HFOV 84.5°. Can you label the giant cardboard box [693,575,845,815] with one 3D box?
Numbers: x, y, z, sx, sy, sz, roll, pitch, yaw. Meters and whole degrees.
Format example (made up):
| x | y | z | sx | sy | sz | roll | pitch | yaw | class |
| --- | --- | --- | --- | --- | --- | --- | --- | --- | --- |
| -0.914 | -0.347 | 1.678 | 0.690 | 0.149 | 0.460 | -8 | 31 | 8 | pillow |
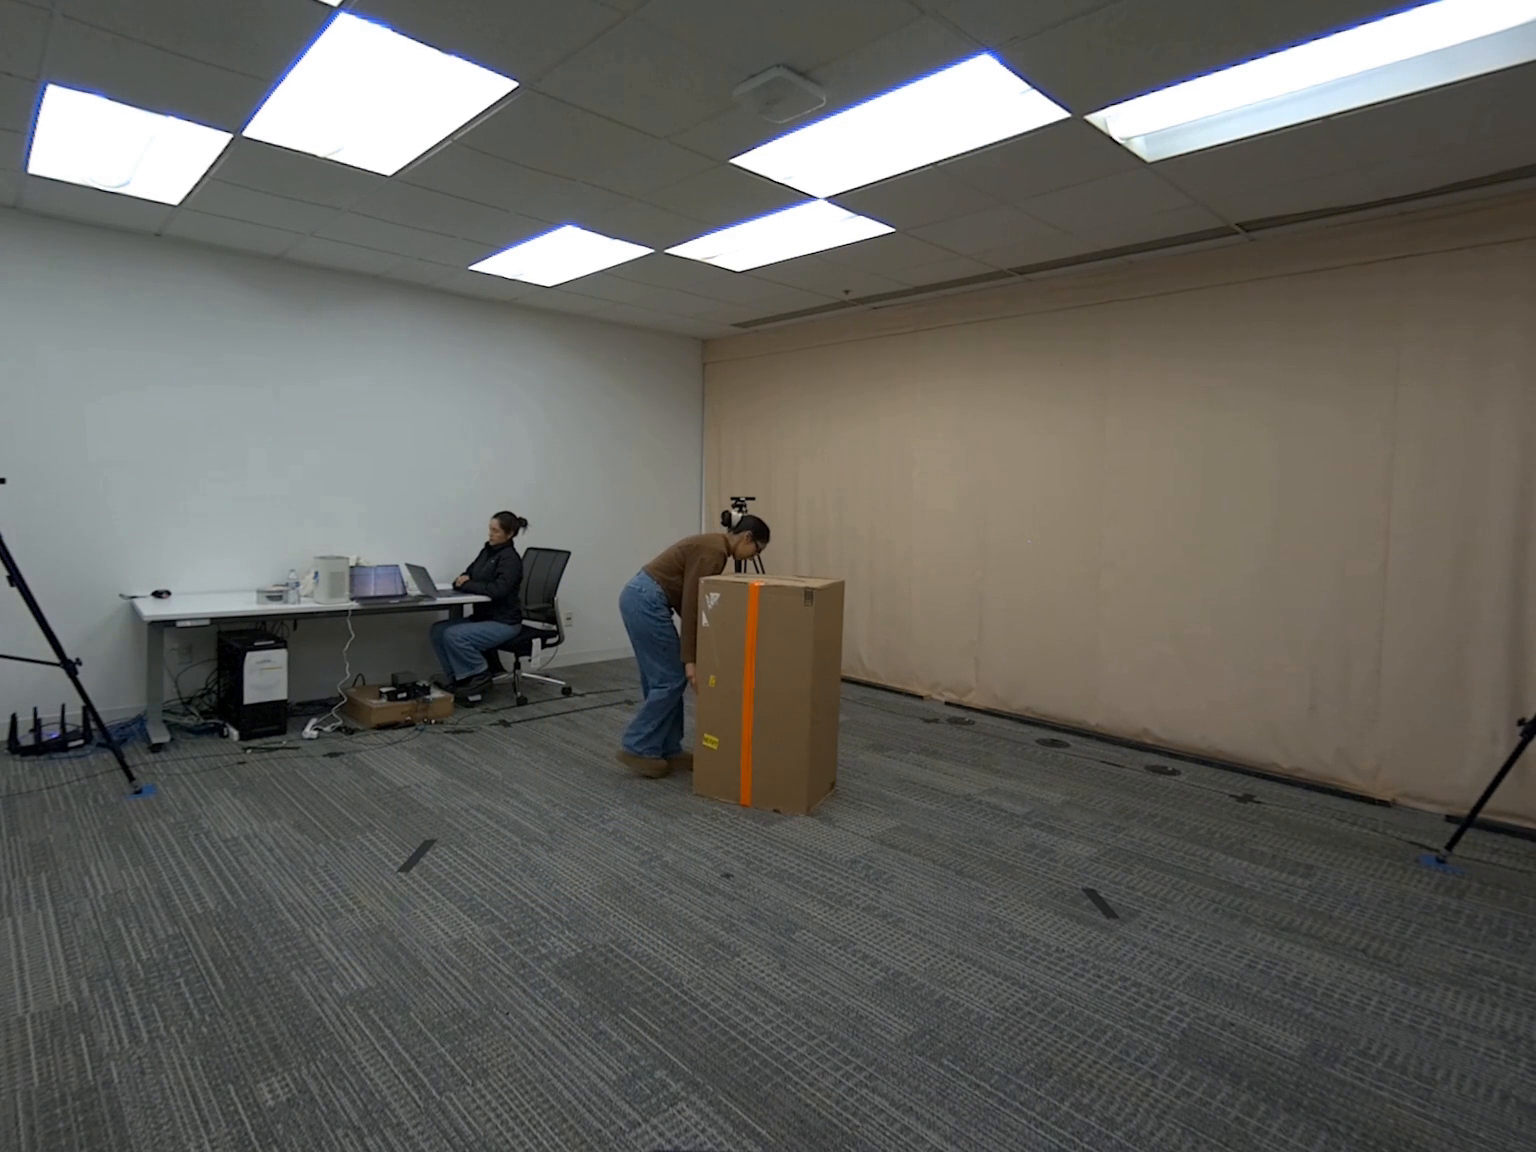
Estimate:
| x | y | z | sx | sy | sz | roll | pitch | yaw | class |
| --- | --- | --- | --- | --- | --- | --- | --- | --- | --- |
| -0.006 | 0.528 | 3.987 | 0.589 | 1.023 | 0.419 | 4 | 4 | 24 | giant cardboard box |
